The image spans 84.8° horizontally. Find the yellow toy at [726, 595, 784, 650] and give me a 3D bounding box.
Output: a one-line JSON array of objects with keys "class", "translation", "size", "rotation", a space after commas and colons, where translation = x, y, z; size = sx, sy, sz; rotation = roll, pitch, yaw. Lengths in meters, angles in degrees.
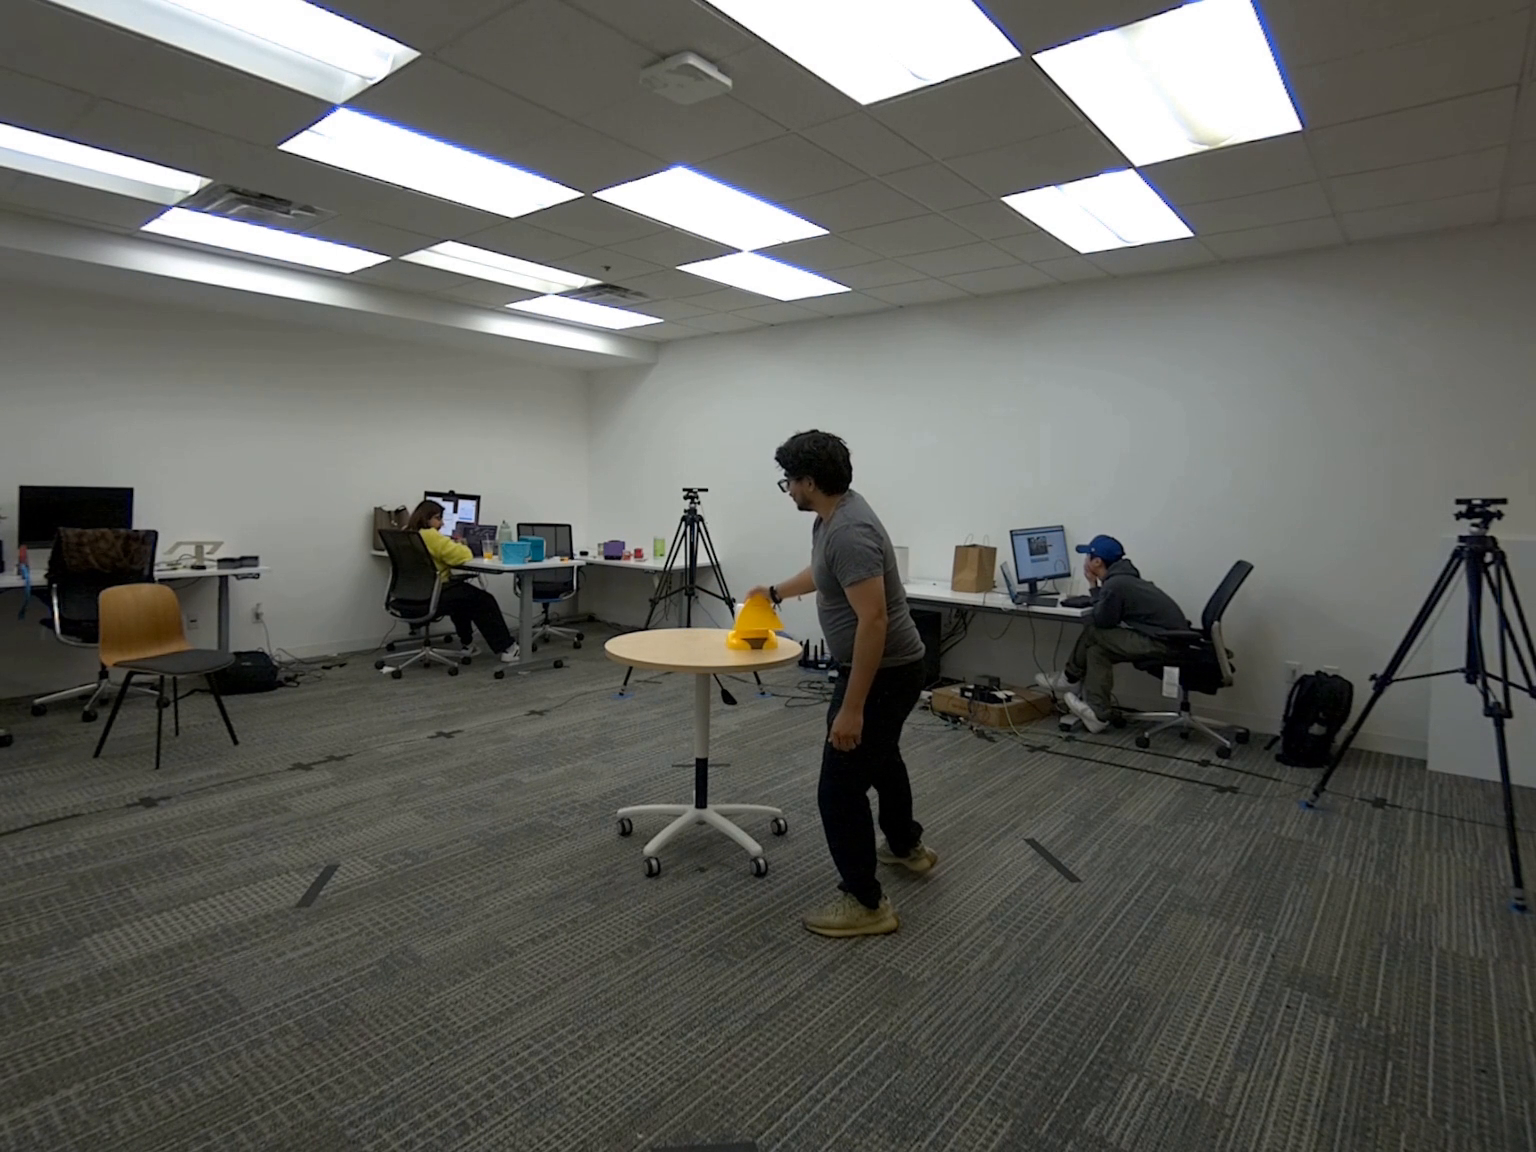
[{"class": "yellow toy", "translation": [-0.071, 0.155, 3.310], "size": [0.201, 0.229, 0.197], "rotation": [0, 6, -17]}]
